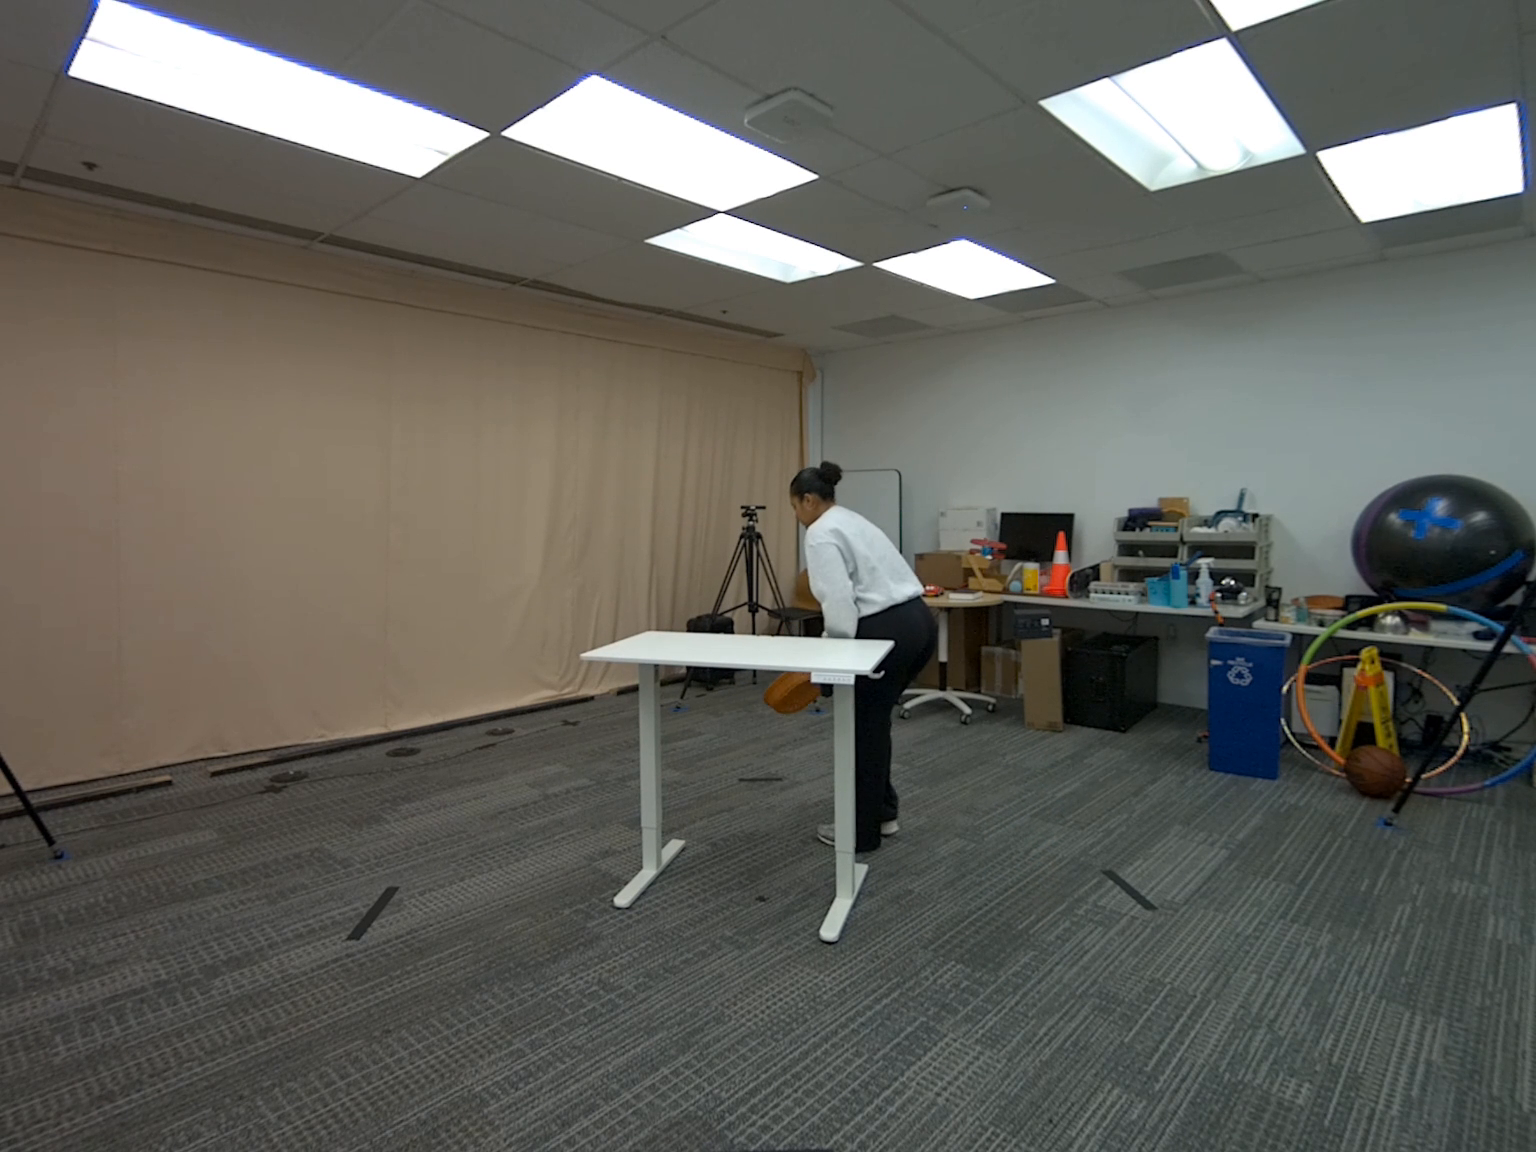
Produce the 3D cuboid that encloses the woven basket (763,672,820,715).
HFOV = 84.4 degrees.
[{"bbox_3d":[0.127,0.509,3.772,0.245,0.075,0.351,9,-44,-30],"label":"woven basket"}]
